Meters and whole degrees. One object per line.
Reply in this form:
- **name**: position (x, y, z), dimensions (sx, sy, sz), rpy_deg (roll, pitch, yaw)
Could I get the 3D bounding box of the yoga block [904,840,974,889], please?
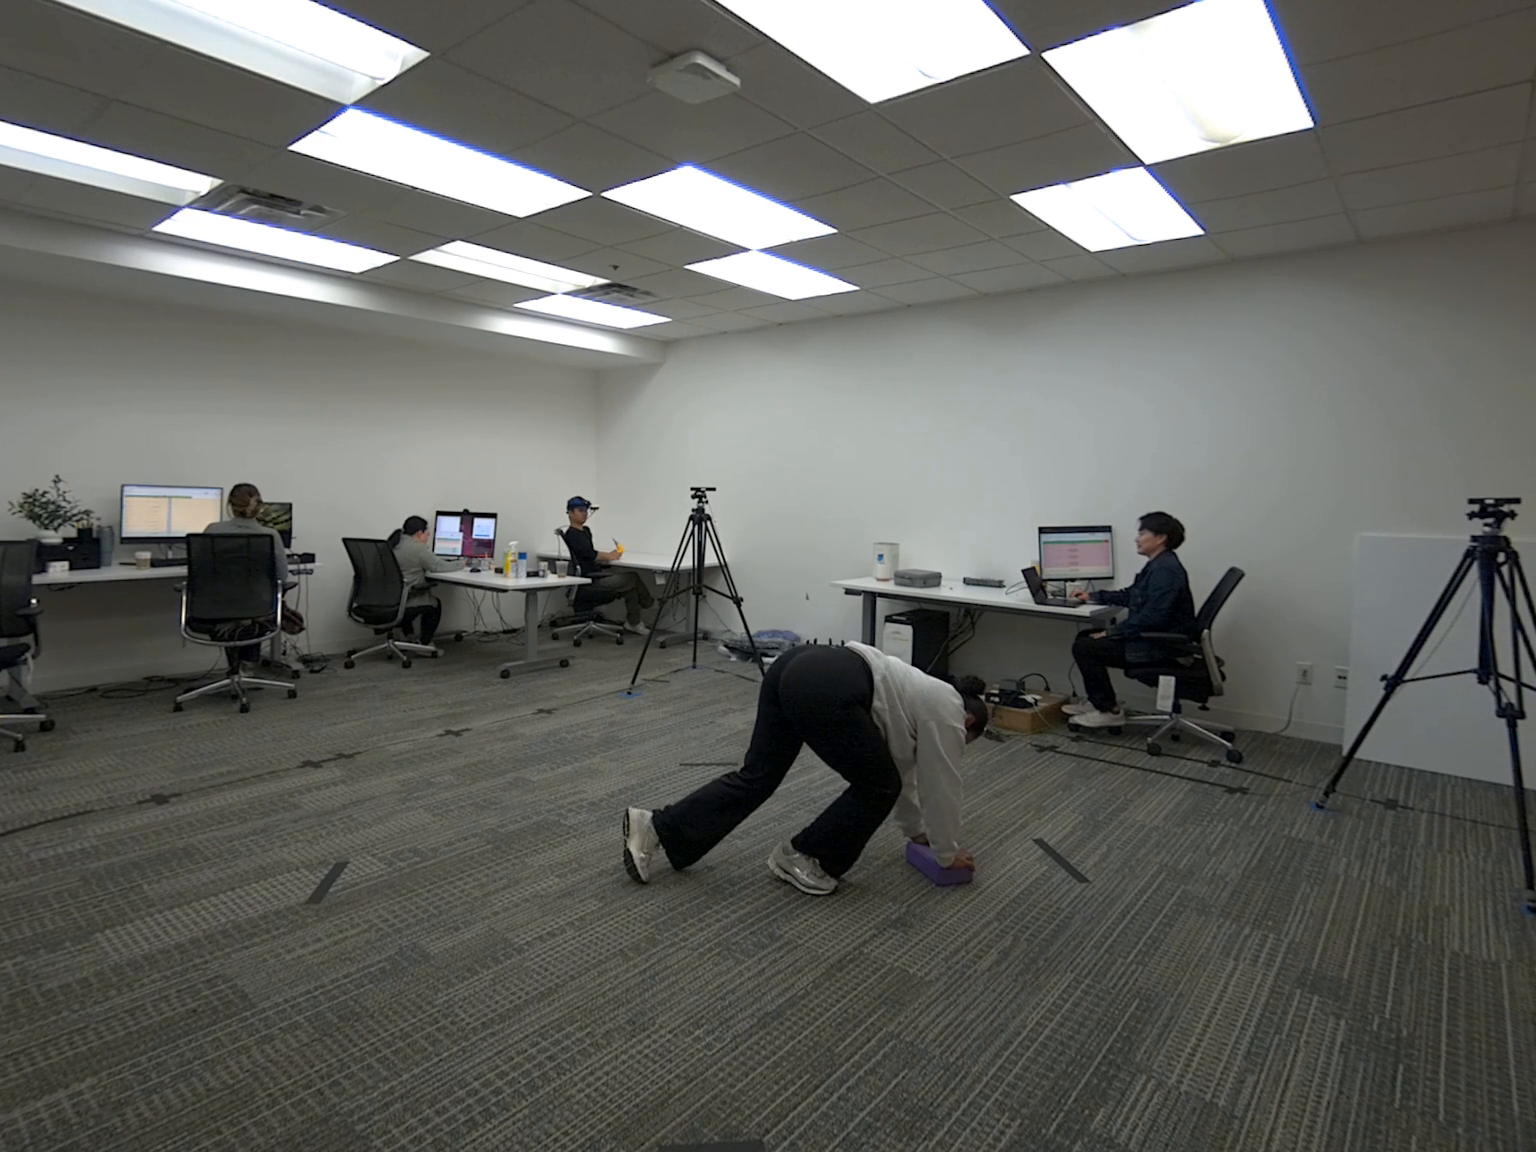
- **yoga block**: position (0.624, 1.058, 3.138), dimensions (0.146, 0.076, 0.234), rpy_deg (3, 3, -20)
